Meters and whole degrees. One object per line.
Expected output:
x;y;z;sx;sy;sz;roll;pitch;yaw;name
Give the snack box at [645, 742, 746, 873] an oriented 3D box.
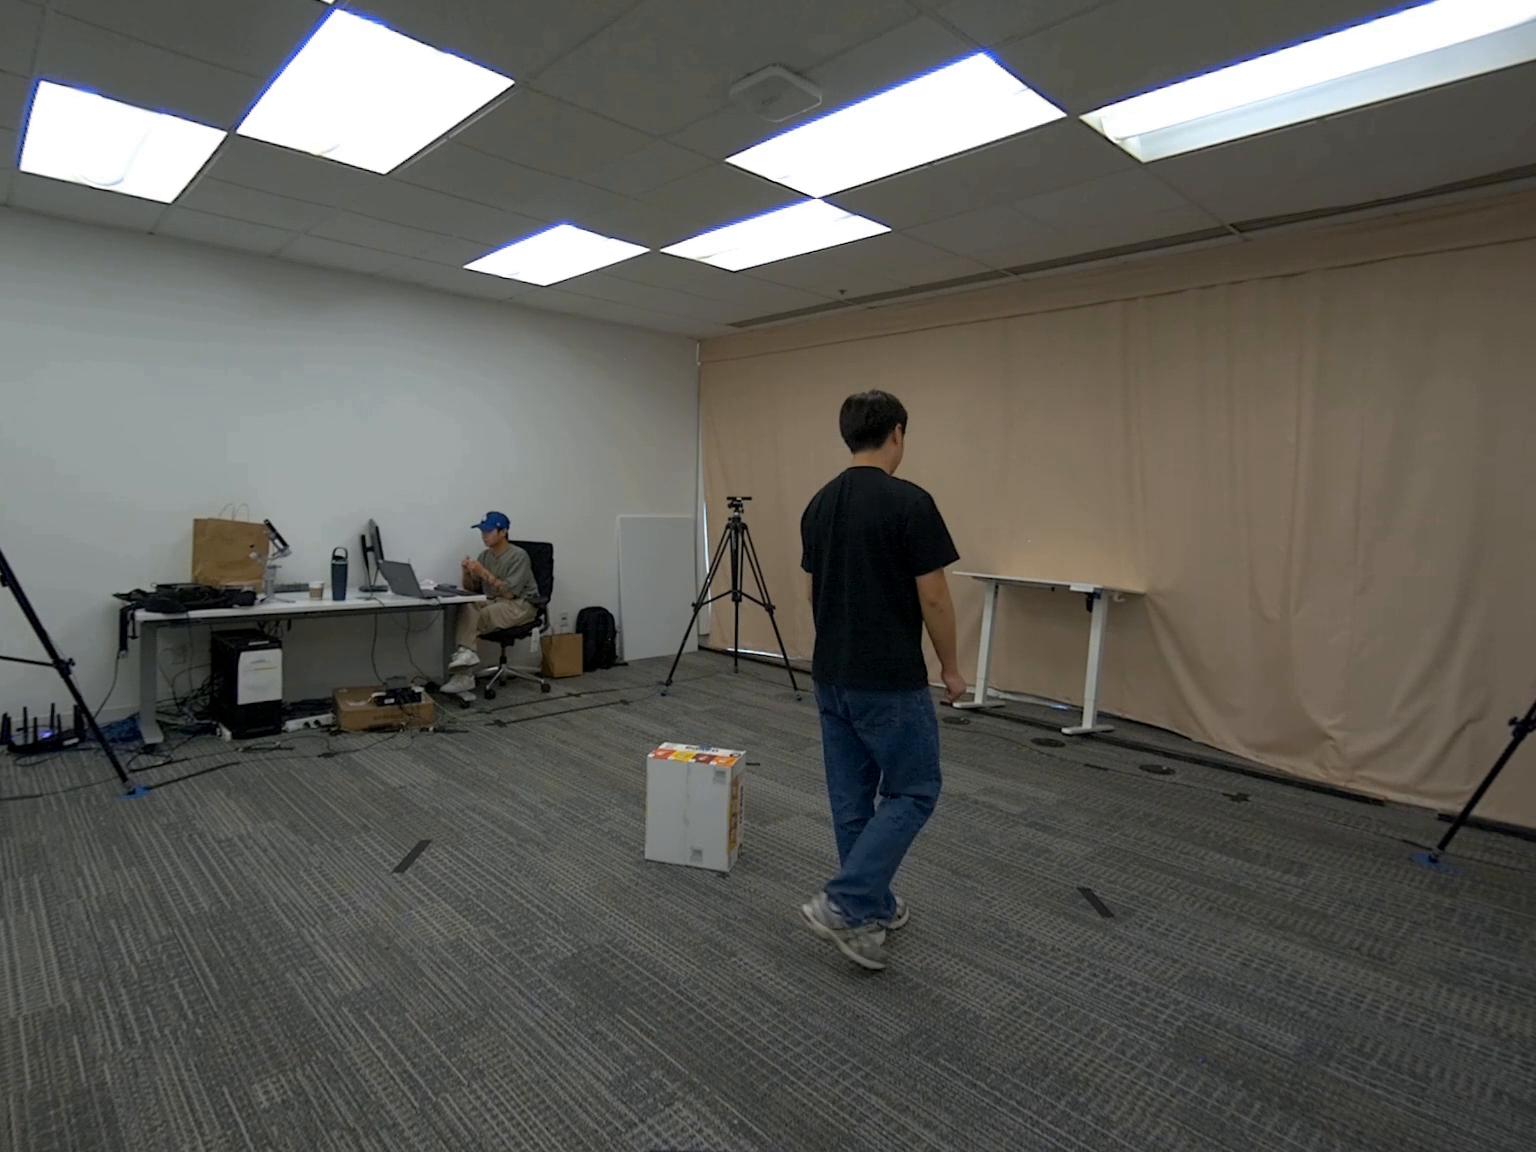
-0.284;0.886;3.255;0.345;0.404;0.203;3;3;16;snack box
